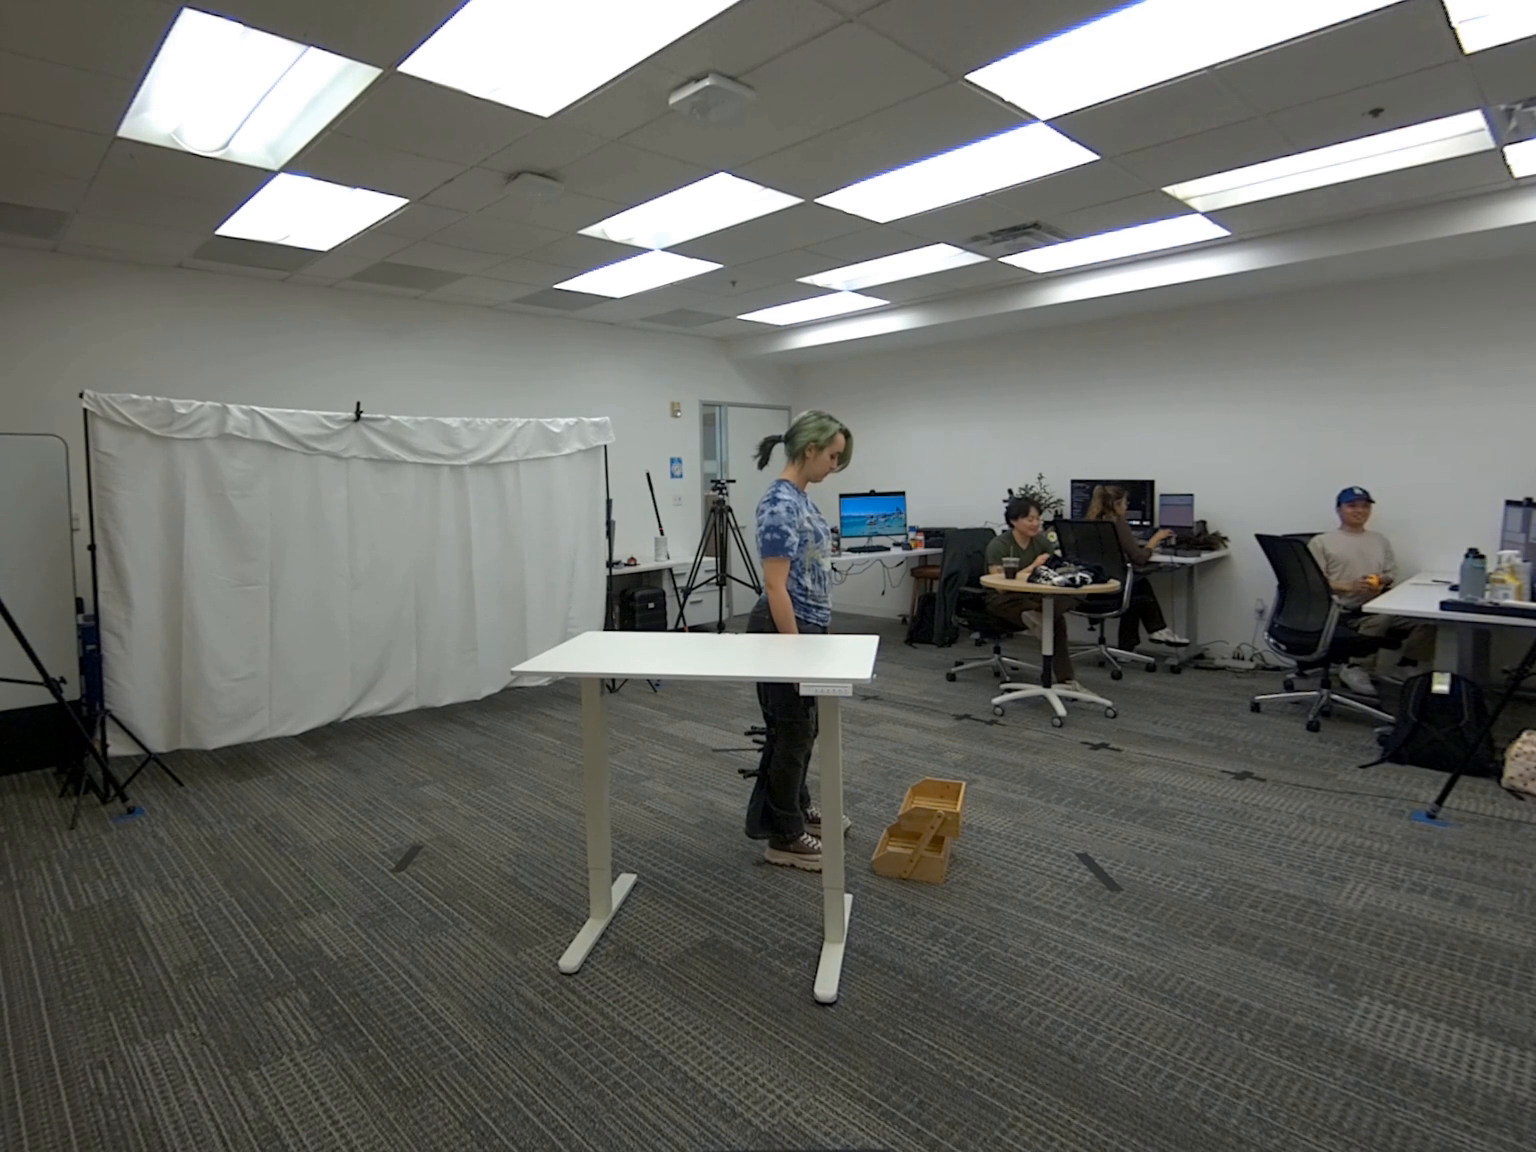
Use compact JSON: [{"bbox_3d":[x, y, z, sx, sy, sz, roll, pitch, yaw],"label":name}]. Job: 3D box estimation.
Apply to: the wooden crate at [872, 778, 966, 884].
[{"bbox_3d":[0.543,0.903,3.093,0.308,0.272,0.320,1,5,19],"label":"wooden crate"}]
